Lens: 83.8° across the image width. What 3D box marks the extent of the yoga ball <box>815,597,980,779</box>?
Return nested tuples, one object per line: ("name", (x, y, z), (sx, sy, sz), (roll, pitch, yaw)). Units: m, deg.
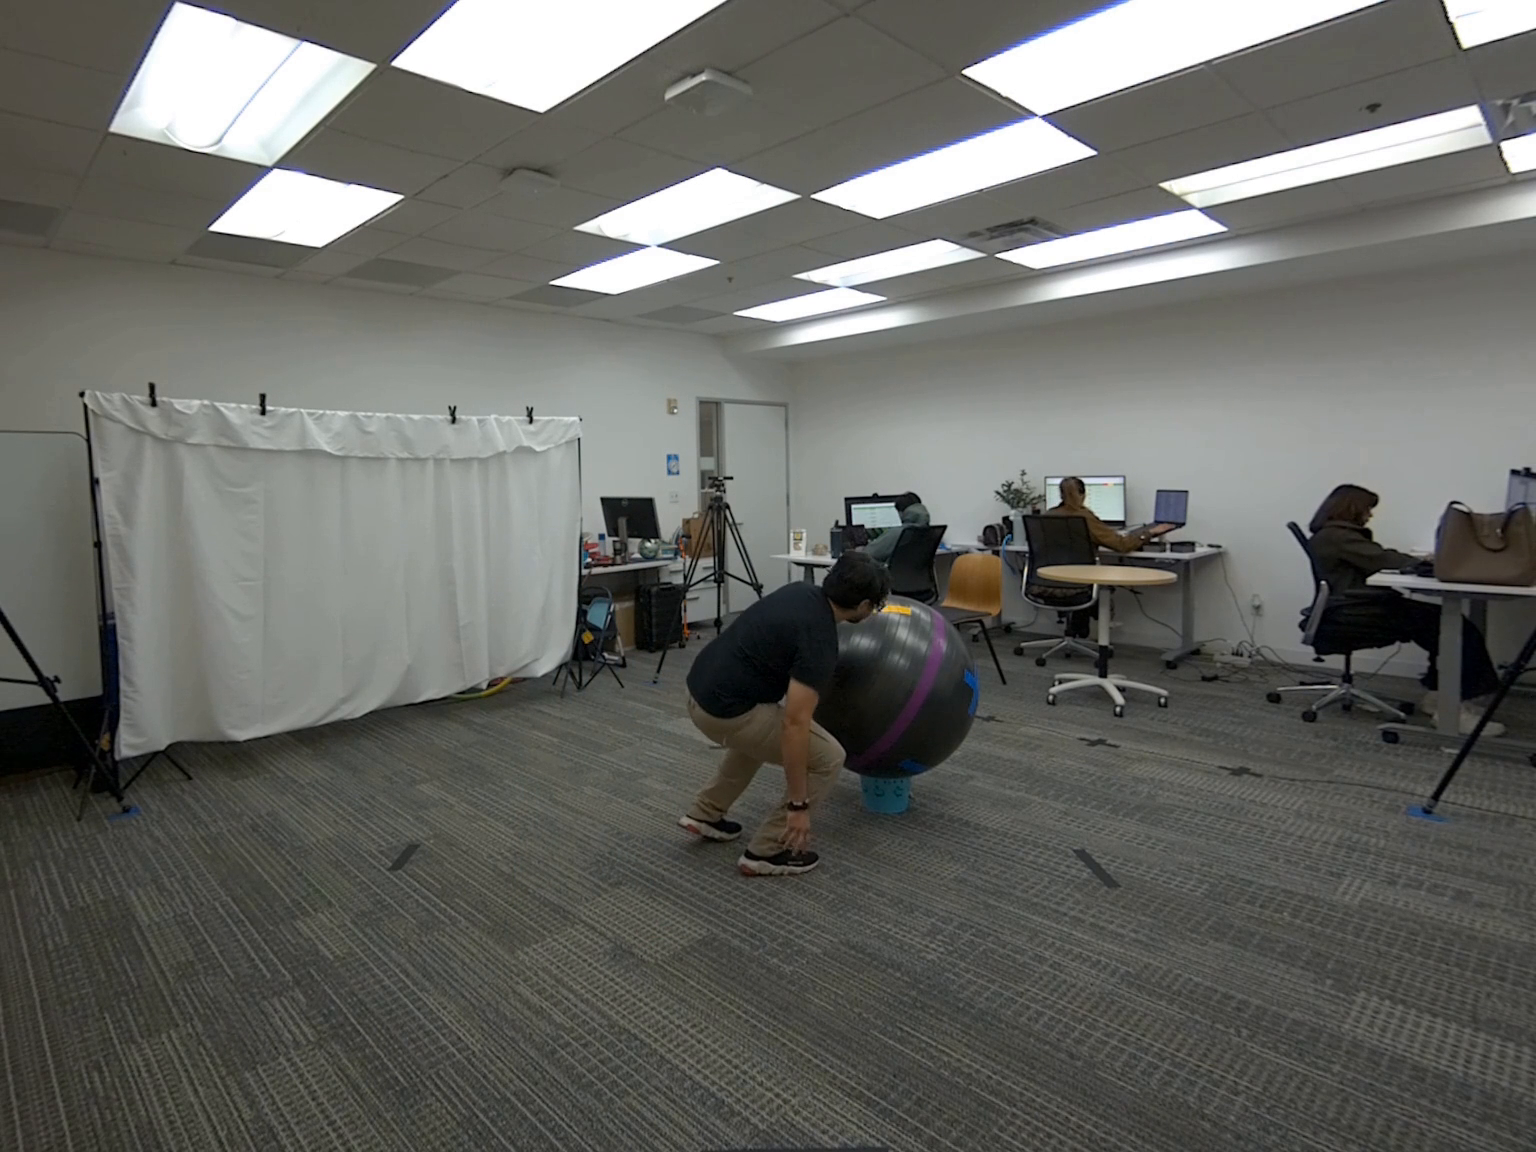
("yoga ball", (0.489, 0.465, 3.583), (0.757, 0.755, 0.762), (-1, 5, -2))
